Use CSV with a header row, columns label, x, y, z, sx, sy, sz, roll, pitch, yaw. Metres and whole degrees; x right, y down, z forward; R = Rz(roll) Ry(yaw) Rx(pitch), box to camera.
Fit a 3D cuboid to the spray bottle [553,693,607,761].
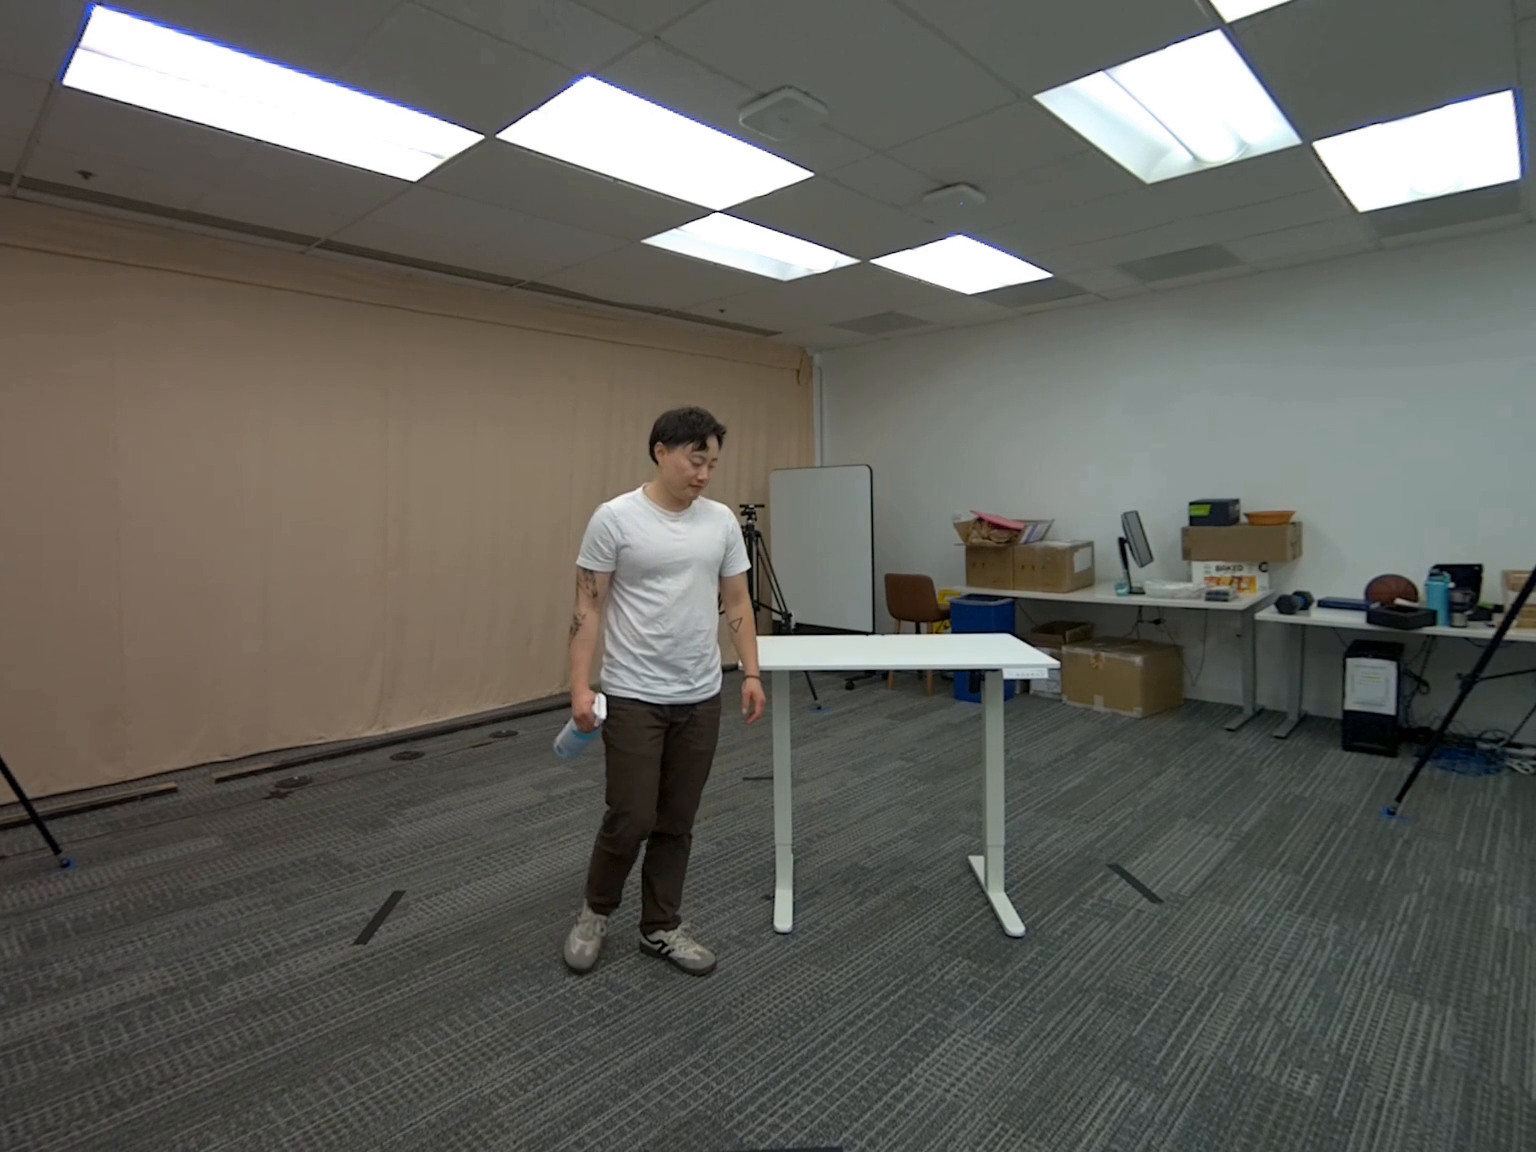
label,x,y,z,sx,sy,sz,roll,pitch,yaw
spray bottle,-0.523,0.433,2.405,0.299,0.086,0.090,-48,10,42
